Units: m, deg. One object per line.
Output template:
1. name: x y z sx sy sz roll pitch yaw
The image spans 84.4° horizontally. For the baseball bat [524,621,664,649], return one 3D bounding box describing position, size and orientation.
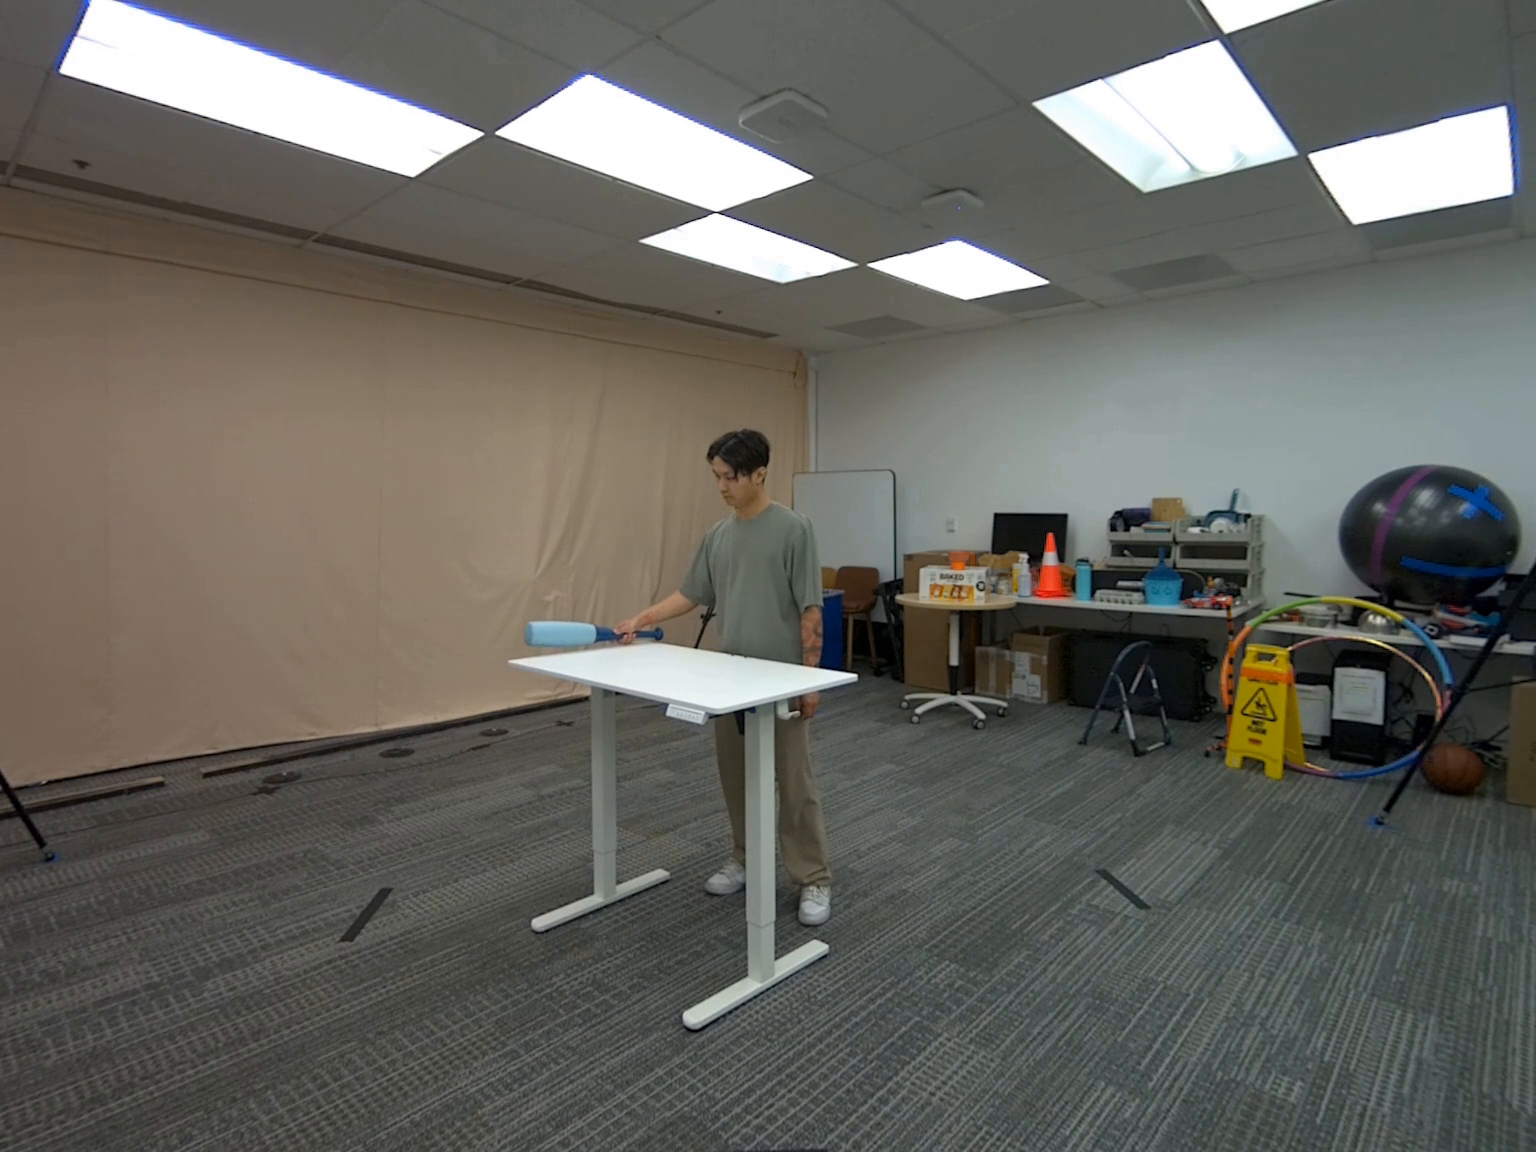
1. baseball bat: -0.623 0.215 3.067 0.526 0.089 0.092 4 1 -35
